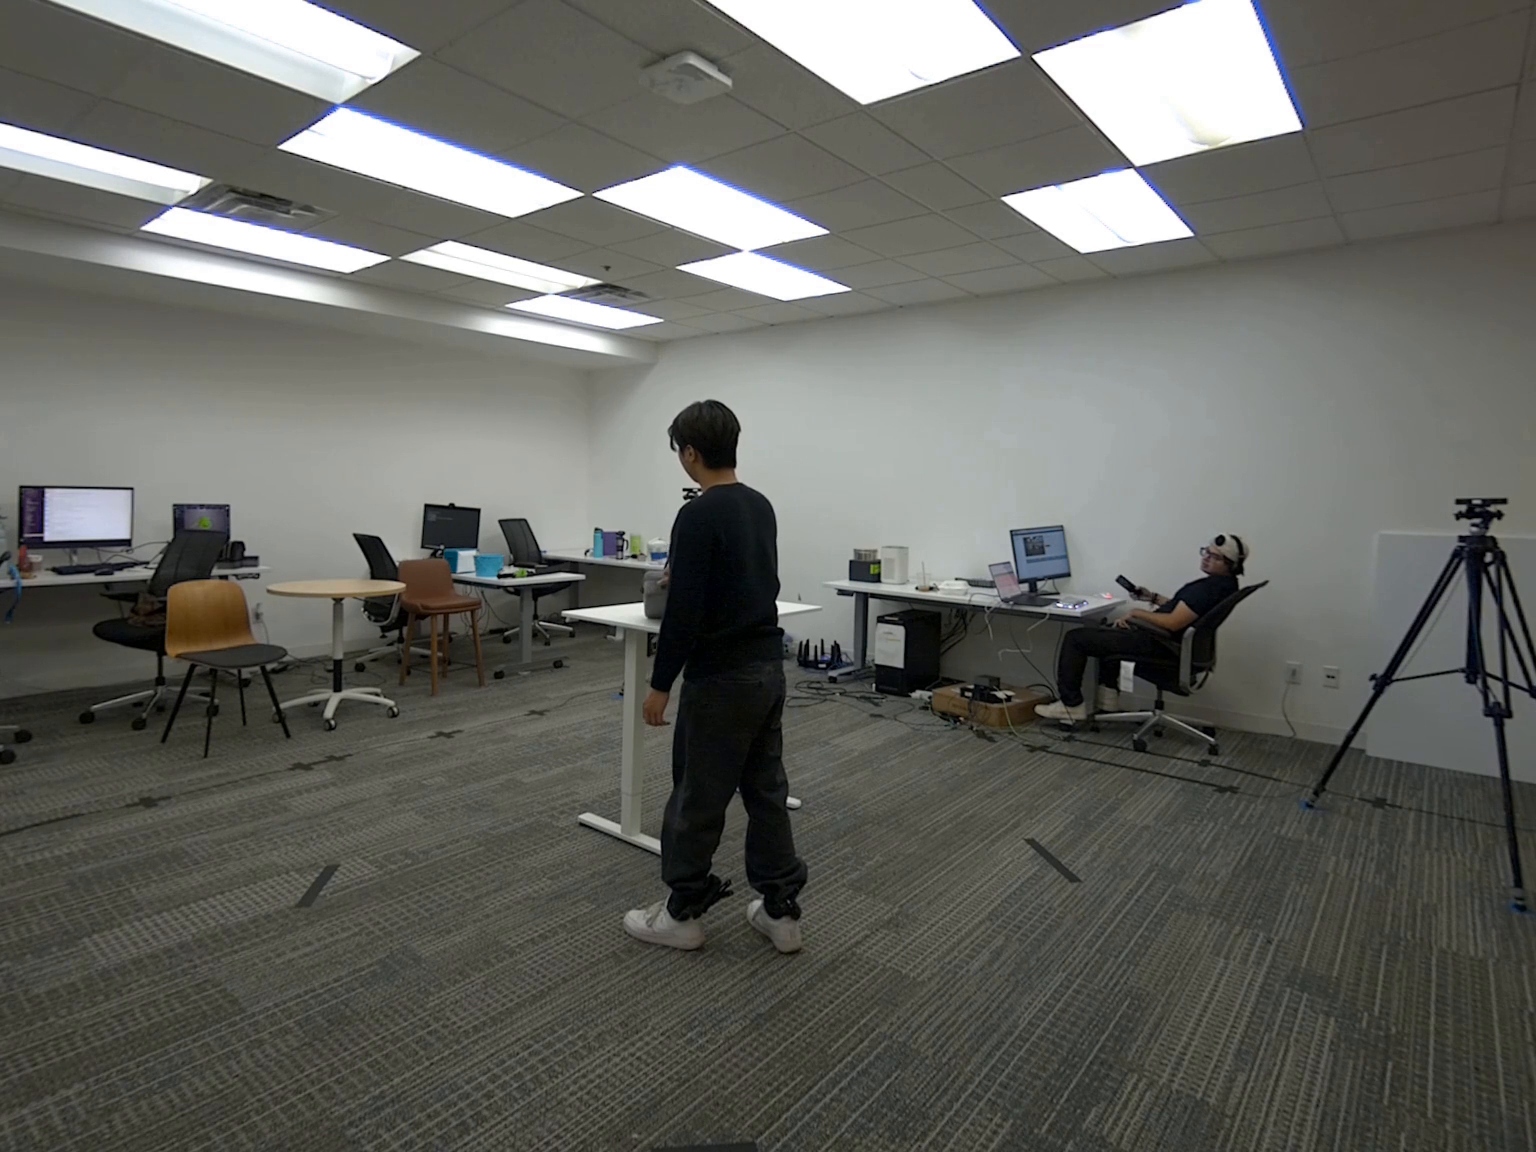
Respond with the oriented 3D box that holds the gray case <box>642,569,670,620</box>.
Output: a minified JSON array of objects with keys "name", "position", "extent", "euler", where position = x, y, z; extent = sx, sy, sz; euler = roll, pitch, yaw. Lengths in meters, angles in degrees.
[{"name":"gray case","position":[-0.358,0.070,3.233],"extent":[0.256,0.107,0.256],"euler":[1,-26,-5]}]
